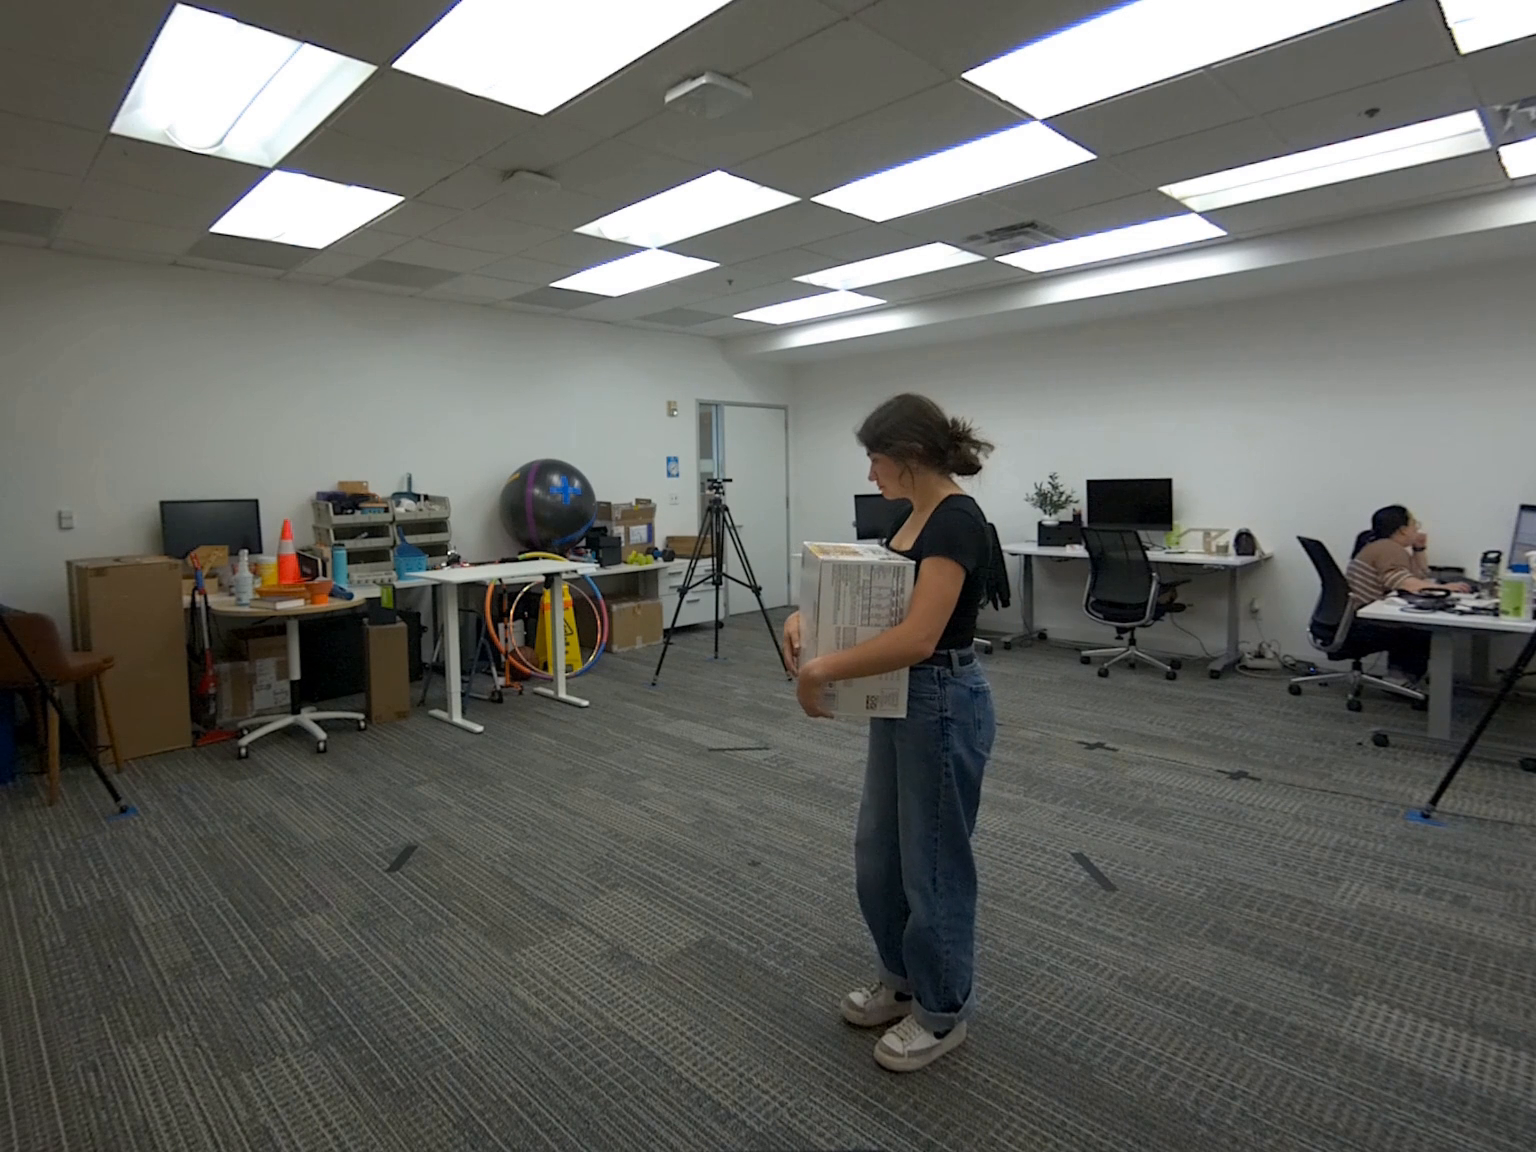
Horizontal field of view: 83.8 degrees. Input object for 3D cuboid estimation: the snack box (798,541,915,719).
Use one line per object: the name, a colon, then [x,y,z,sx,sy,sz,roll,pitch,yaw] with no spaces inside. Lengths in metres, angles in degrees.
snack box: [0.193,0.109,2.015,0.206,0.339,0.407,2,5,-1]
